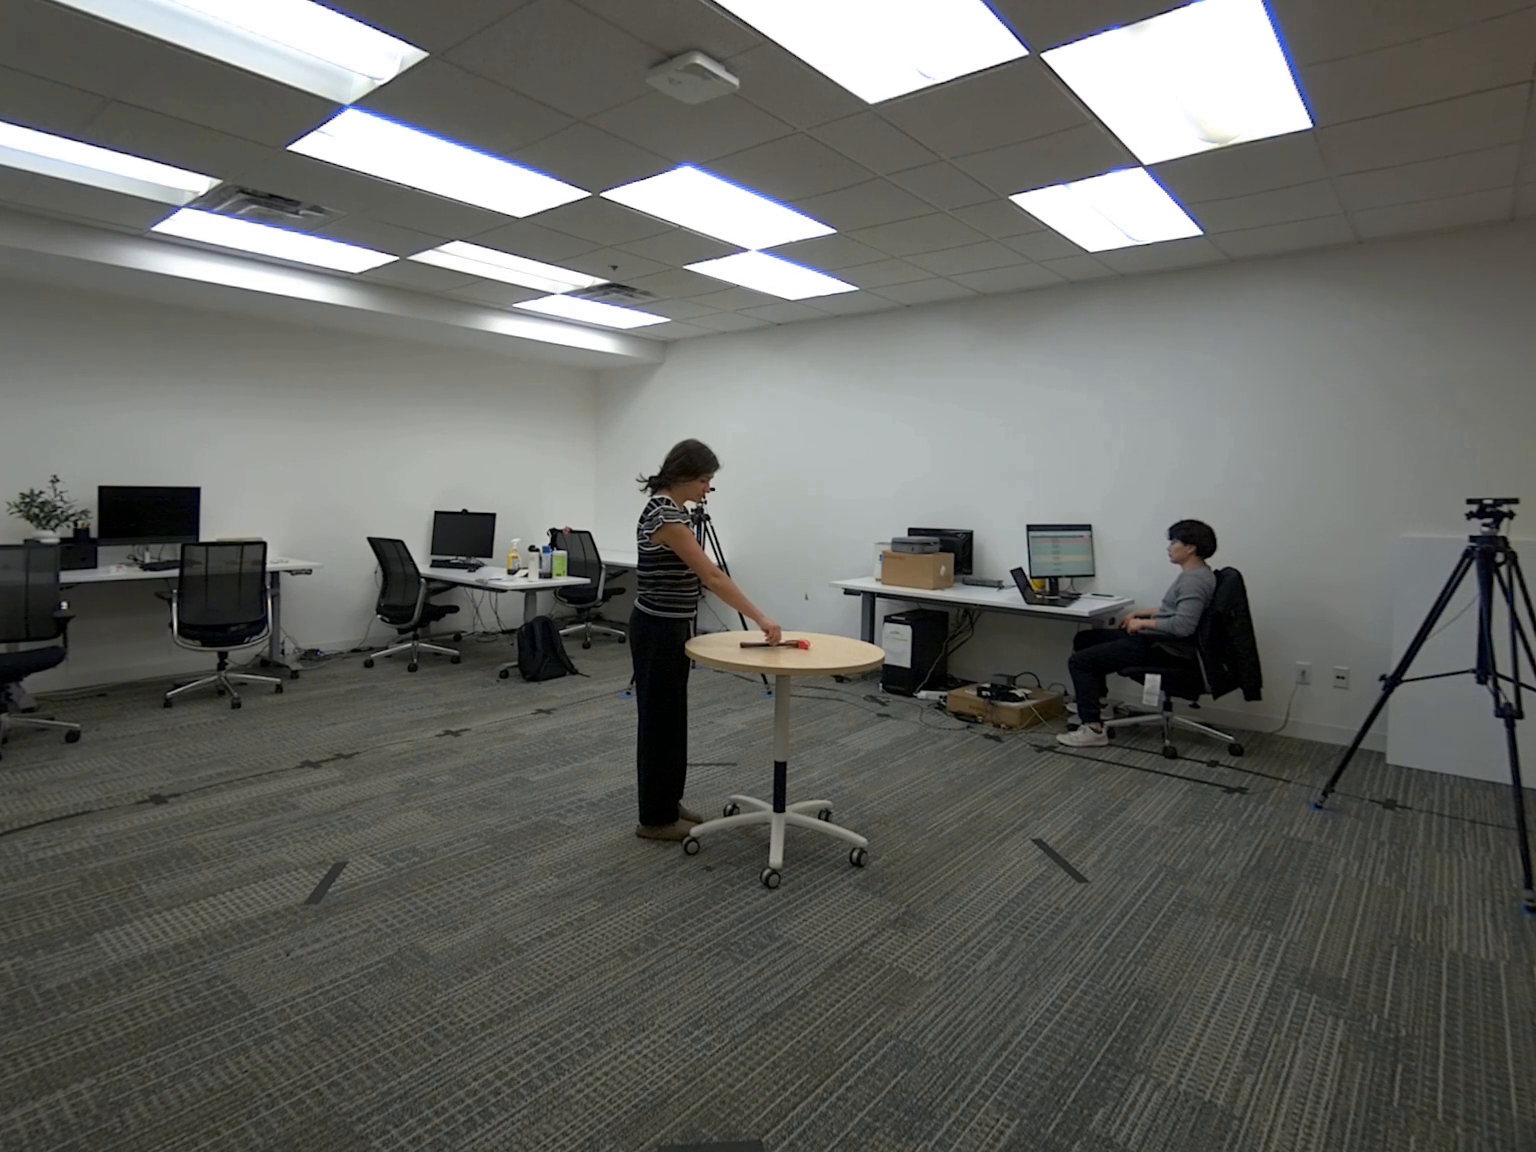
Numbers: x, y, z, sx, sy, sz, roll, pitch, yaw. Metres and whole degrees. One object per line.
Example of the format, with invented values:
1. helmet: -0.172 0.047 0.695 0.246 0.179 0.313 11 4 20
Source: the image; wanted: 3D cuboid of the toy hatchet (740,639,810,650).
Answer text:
1. toy hatchet: 0.013 0.255 3.294 0.271 0.029 0.131 1 7 3
